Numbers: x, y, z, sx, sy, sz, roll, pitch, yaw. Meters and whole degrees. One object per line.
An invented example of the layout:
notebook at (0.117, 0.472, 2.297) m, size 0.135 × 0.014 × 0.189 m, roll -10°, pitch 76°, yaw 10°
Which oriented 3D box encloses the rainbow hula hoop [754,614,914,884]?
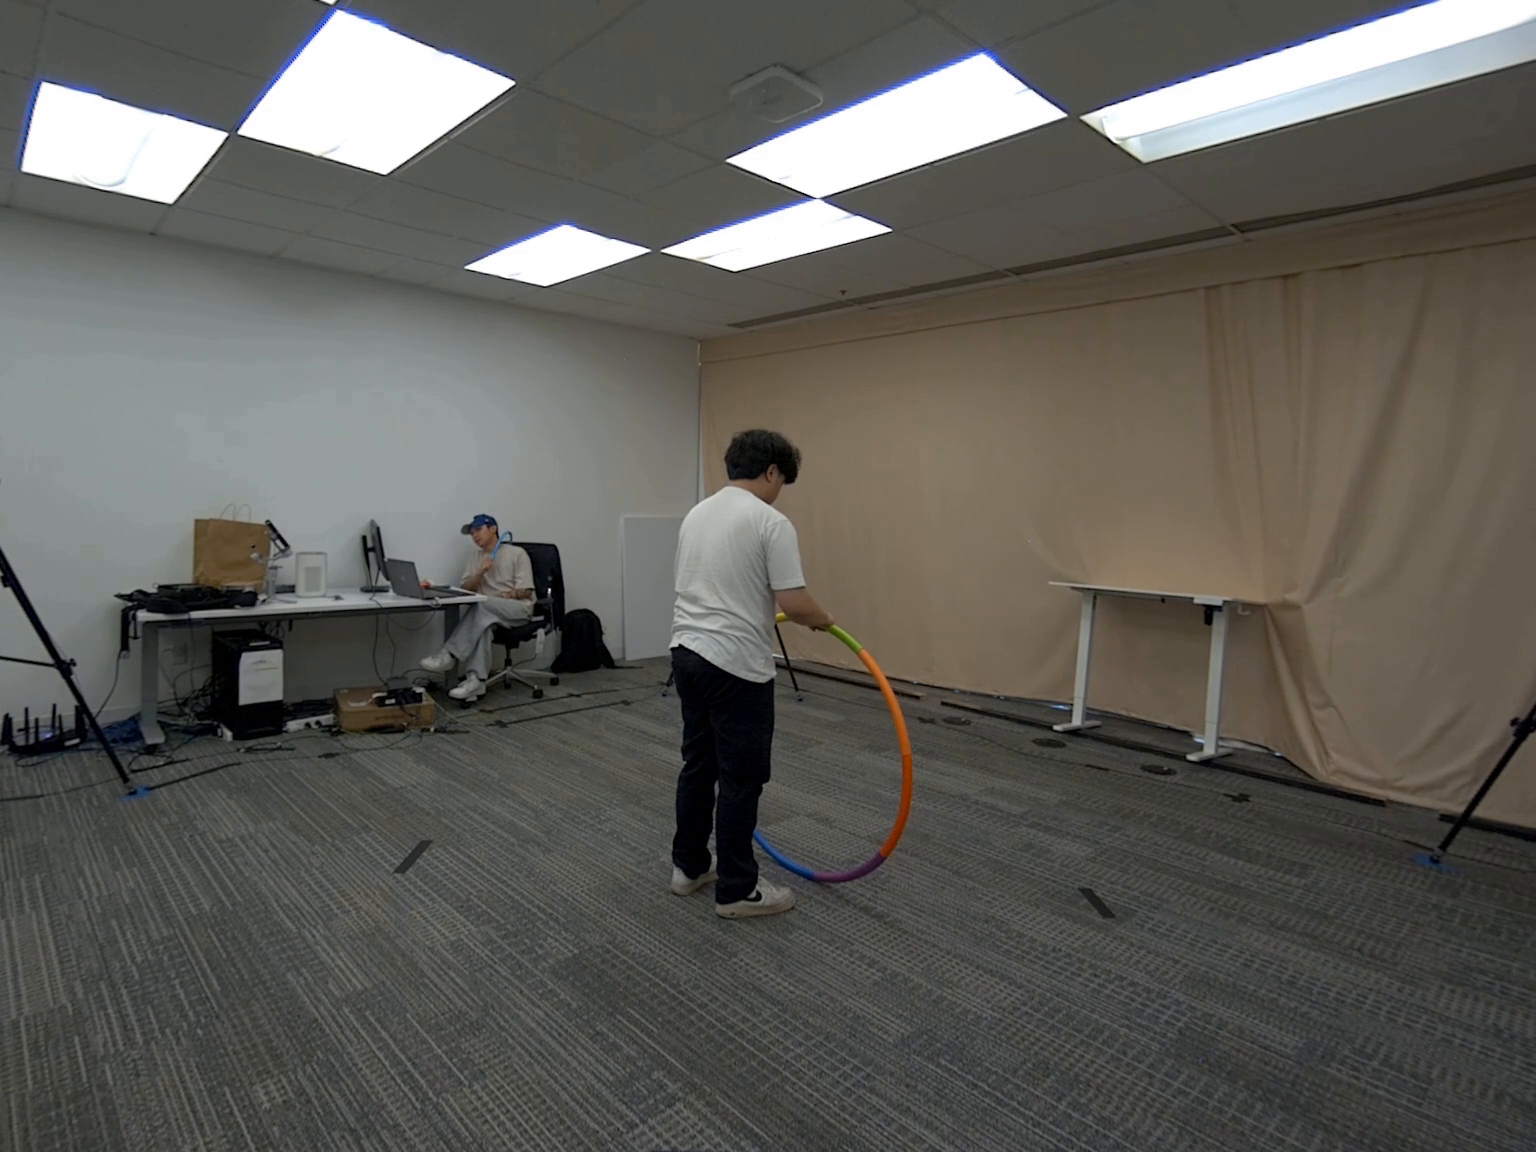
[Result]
rainbow hula hoop at (0.117, 0.629, 3.109) m, size 0.050 × 0.982 × 1.011 m, roll -2°, pitch 5°, yaw -41°
